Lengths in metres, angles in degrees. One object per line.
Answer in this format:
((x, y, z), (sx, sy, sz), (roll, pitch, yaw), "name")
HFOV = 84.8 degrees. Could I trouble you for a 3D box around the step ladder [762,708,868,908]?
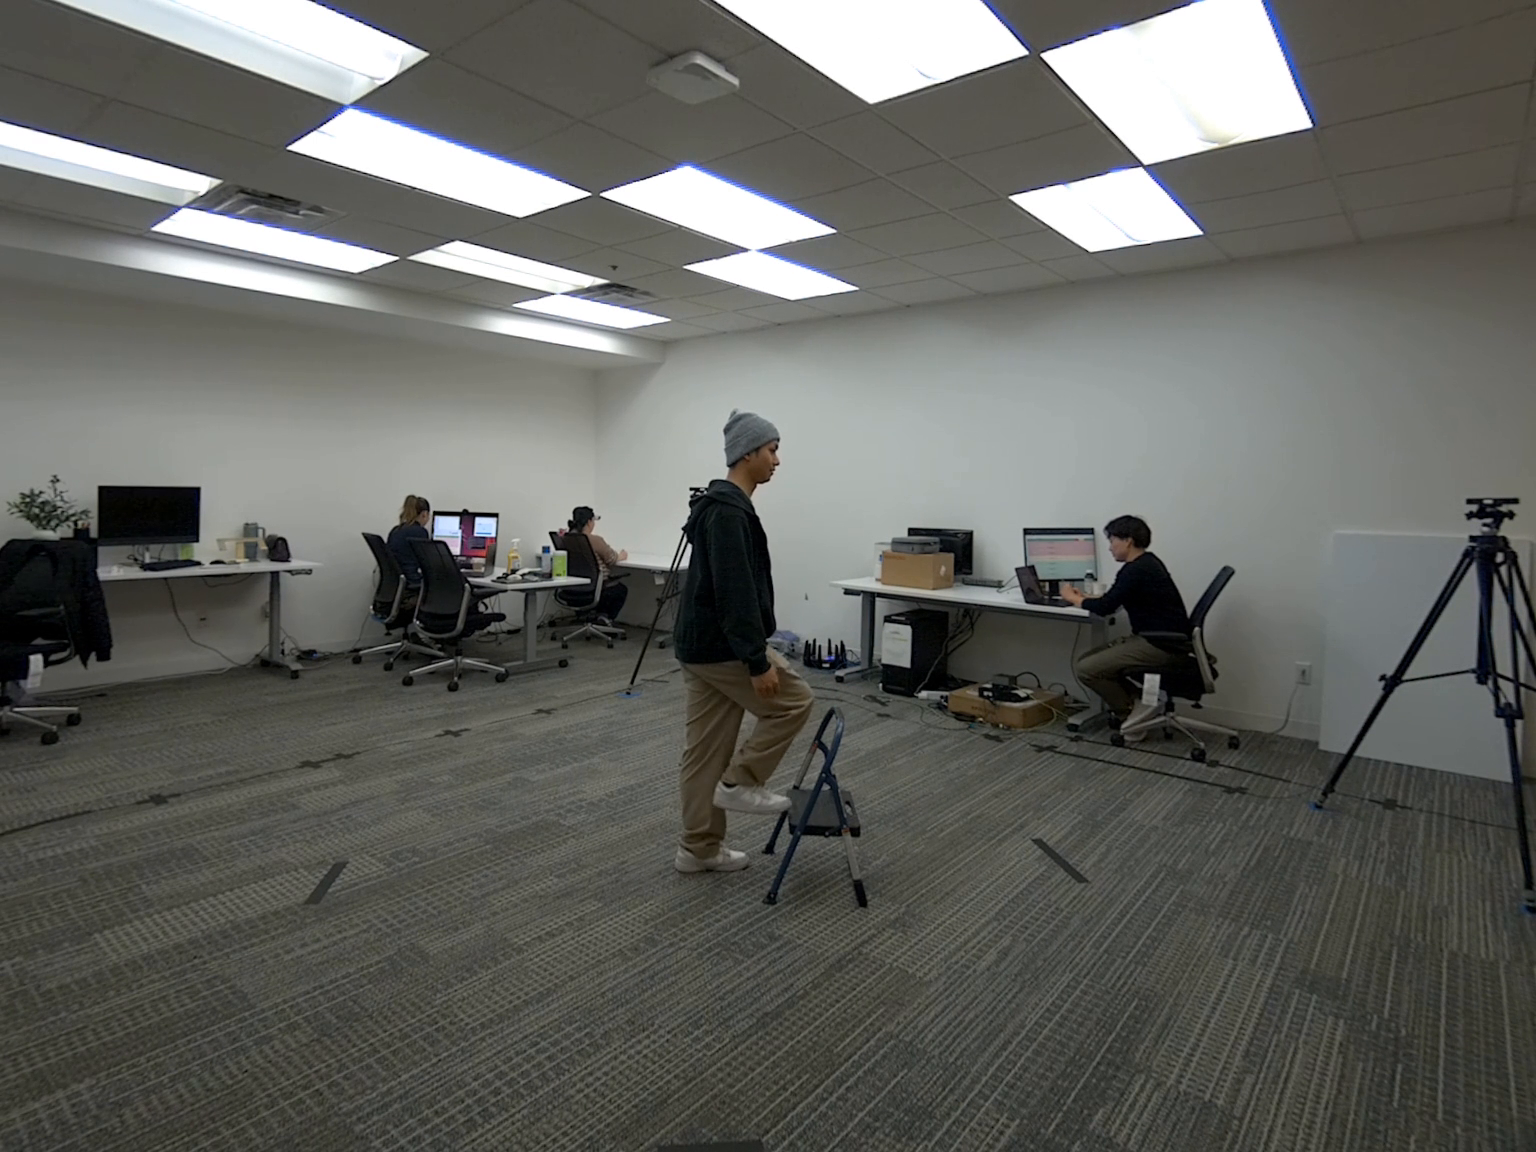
((0.162, 0.783, 3.035), (0.350, 0.604, 0.432), (2, 4, 0), "step ladder")
